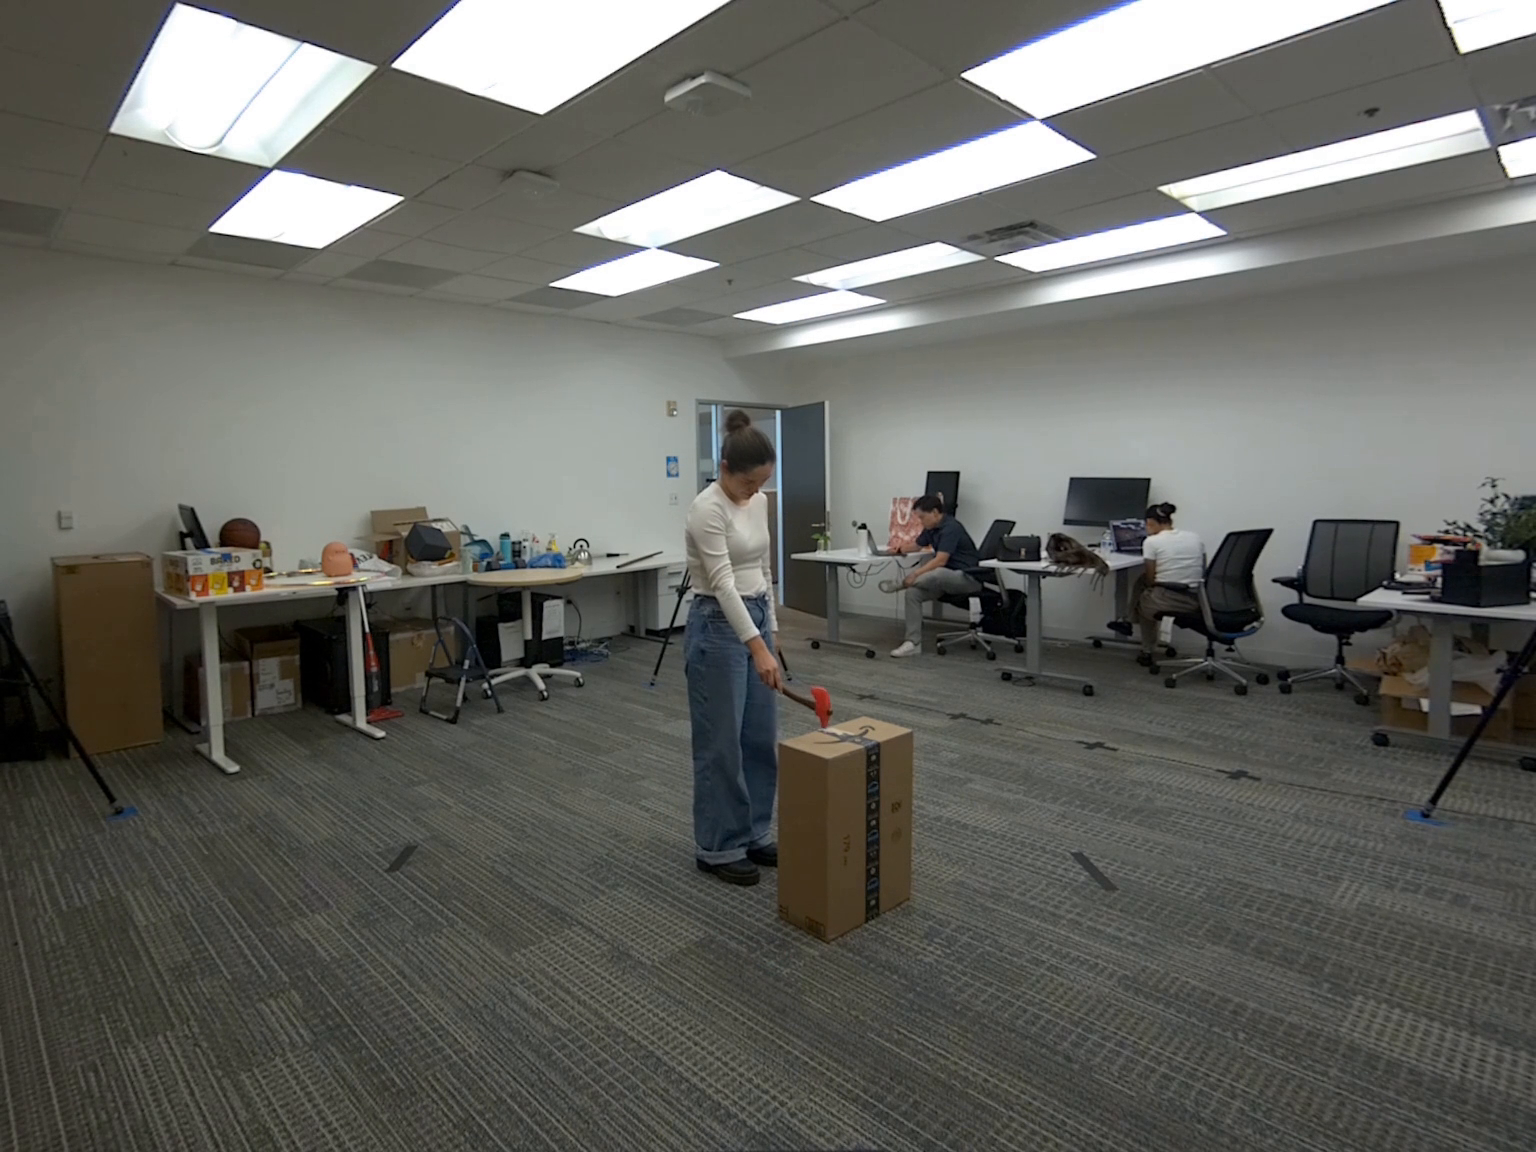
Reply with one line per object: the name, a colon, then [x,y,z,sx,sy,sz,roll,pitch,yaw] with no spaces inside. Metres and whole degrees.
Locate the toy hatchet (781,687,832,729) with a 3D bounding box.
toy hatchet: [0.101,0.343,2.656,0.029,0.129,0.280,-17,44,-41]
